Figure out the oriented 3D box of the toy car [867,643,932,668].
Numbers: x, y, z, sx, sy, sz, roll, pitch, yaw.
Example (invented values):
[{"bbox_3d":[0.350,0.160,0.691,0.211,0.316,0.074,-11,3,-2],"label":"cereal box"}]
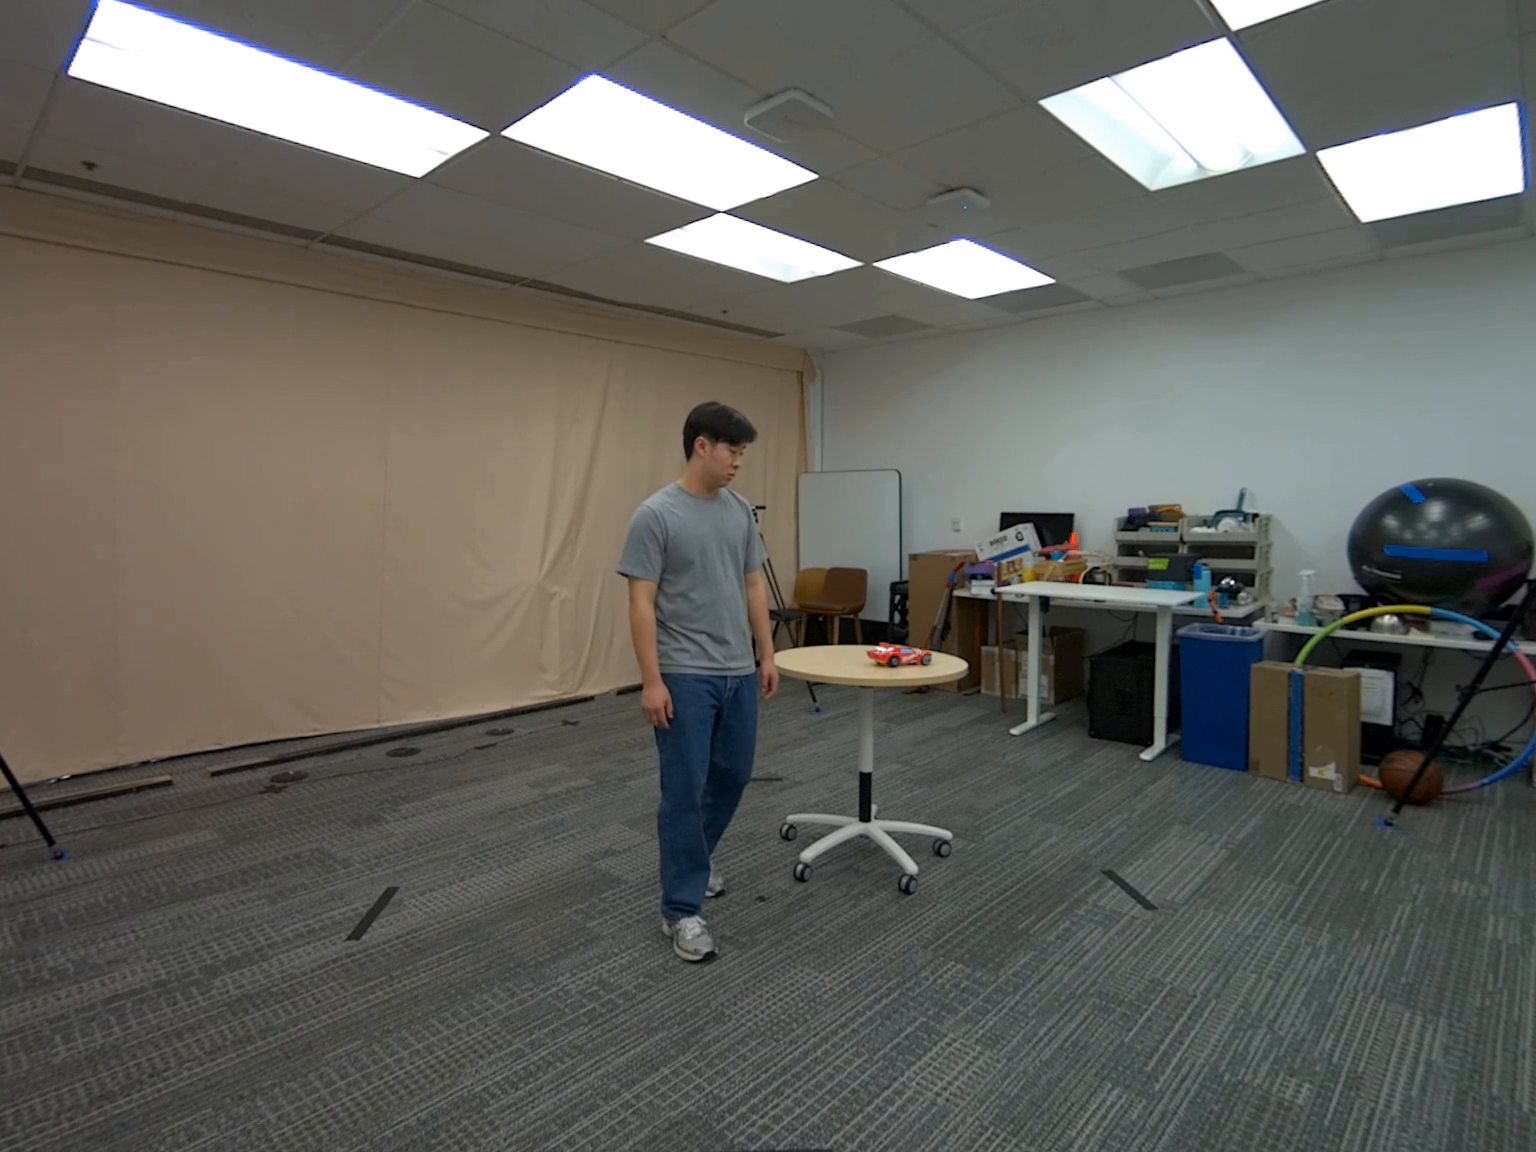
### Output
[{"bbox_3d":[0.509,0.308,3.220,0.249,0.083,0.133,11,0,-22],"label":"toy car"}]
